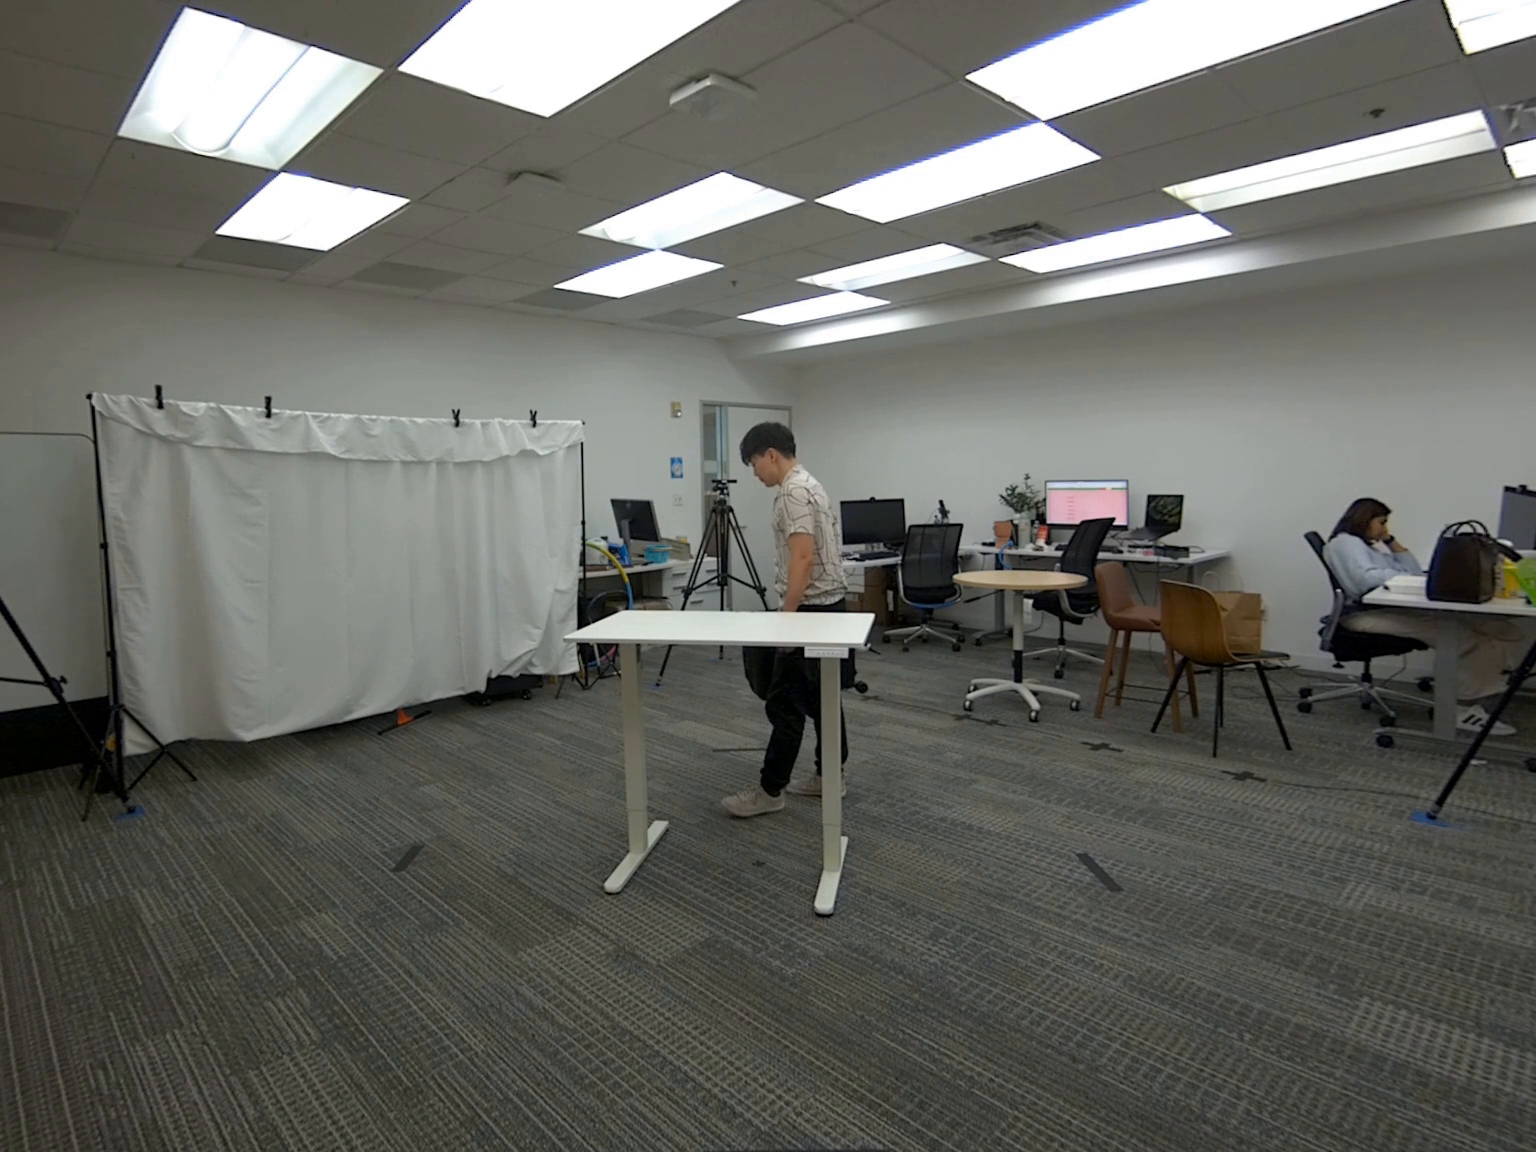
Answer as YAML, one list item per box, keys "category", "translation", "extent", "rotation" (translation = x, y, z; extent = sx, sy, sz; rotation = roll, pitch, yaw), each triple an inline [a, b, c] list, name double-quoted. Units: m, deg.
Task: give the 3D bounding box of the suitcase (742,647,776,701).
- category: "suitcase"
  translation: [0.161, 0.355, 4.026]
  extent: [0.543, 0.370, 0.254]
  rotation: [-6, 15, -13]
